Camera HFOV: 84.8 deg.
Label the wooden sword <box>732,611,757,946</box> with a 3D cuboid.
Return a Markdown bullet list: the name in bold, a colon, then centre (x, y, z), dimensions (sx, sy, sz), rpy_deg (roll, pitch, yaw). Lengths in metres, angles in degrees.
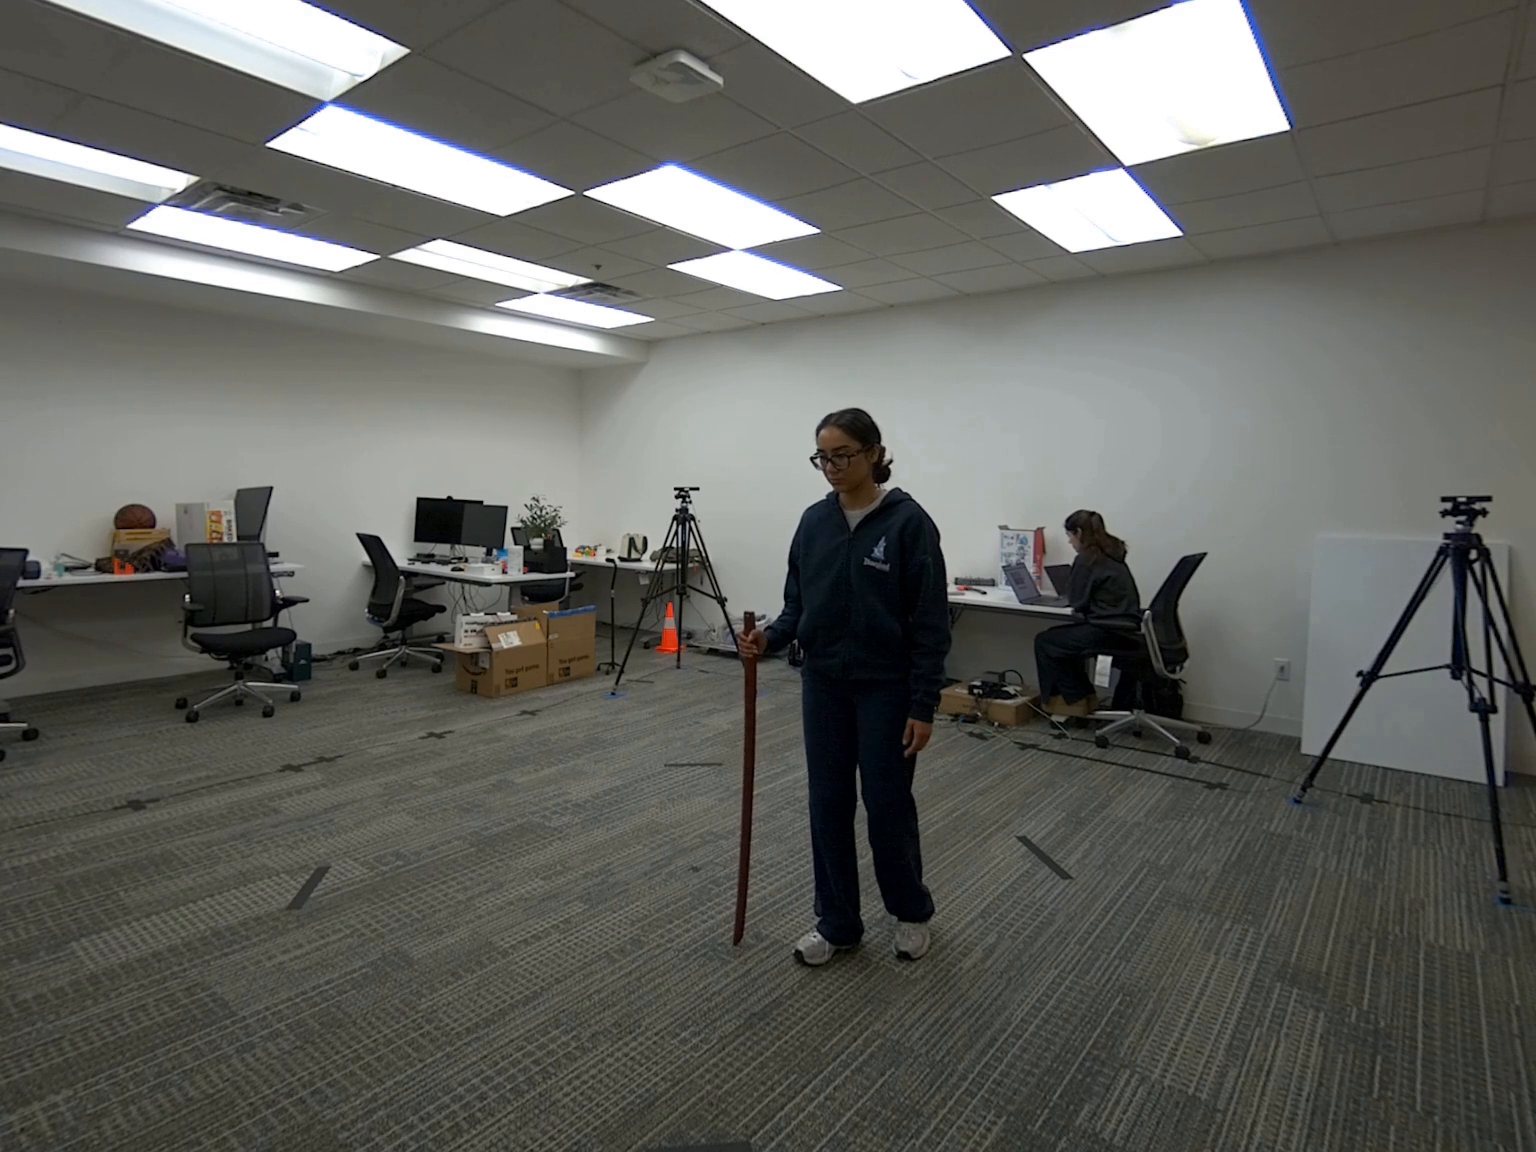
- **wooden sword**: centre (-0.076, 0.622, 2.527), dimensions (0.053, 1.020, 0.023), rpy_deg (4, 5, 27)
